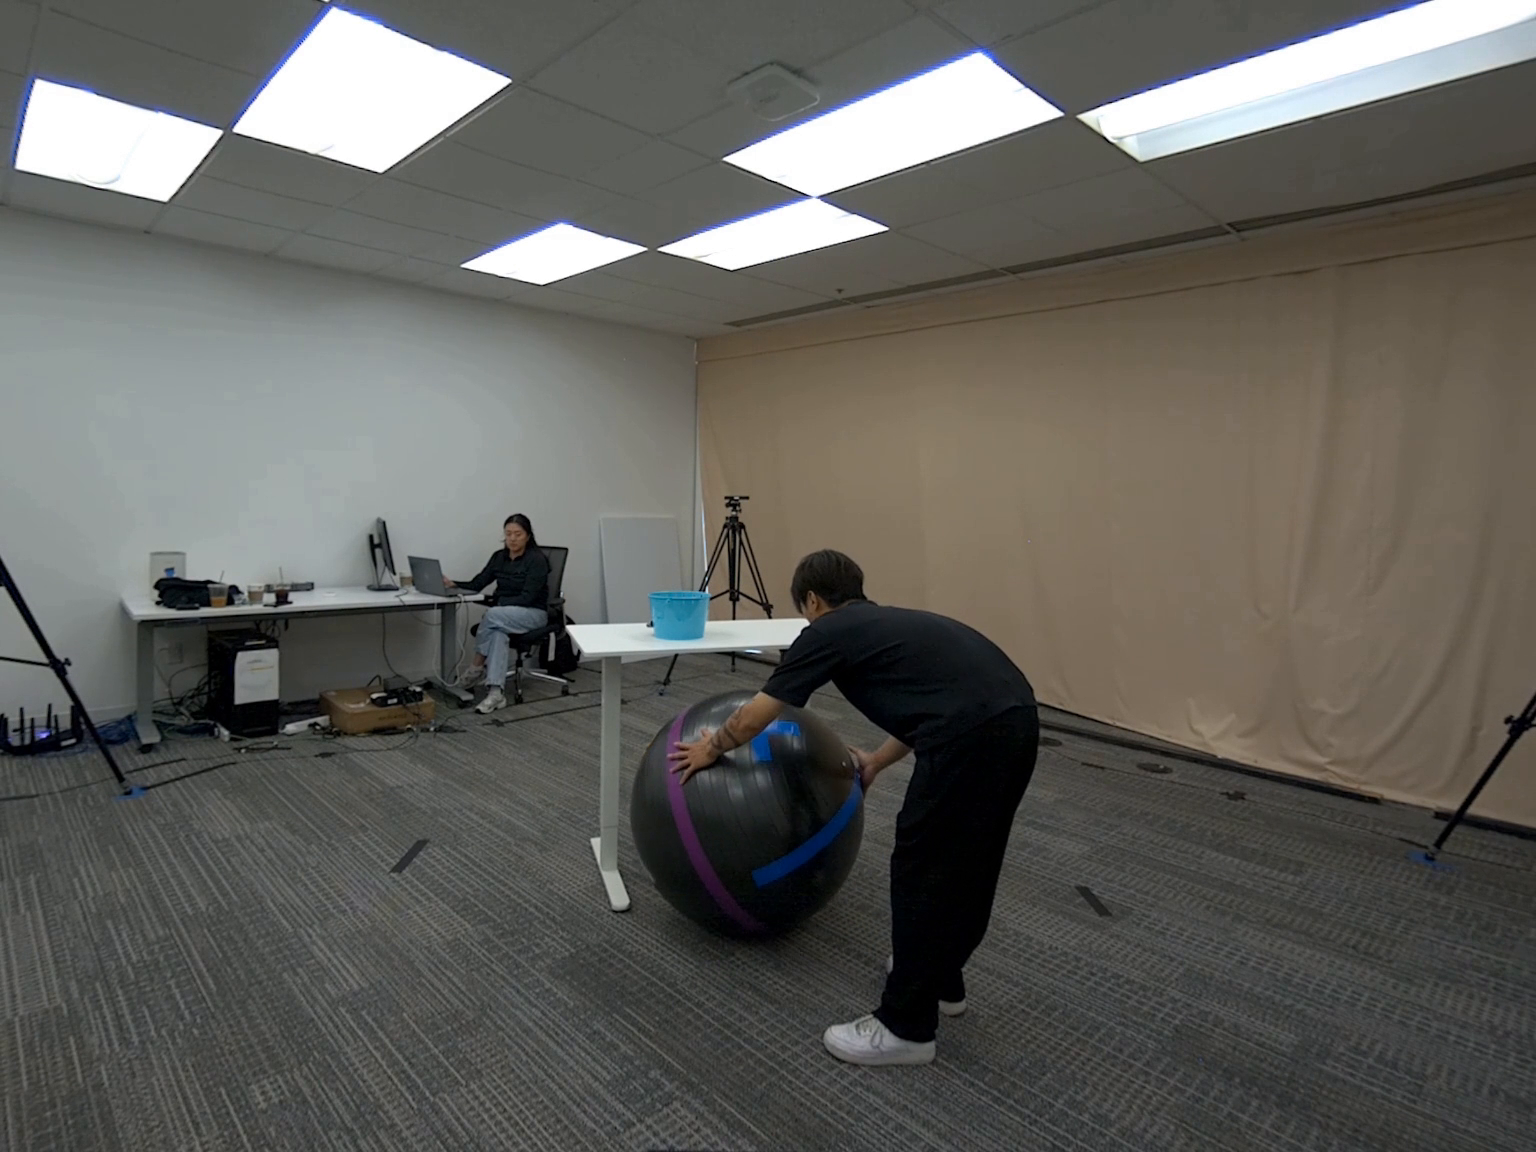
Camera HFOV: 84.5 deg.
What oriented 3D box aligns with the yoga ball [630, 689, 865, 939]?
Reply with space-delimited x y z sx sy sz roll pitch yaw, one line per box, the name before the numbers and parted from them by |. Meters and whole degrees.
yoga ball | -0.066 0.771 2.757 0.757 0.756 0.761 1 4 -1
